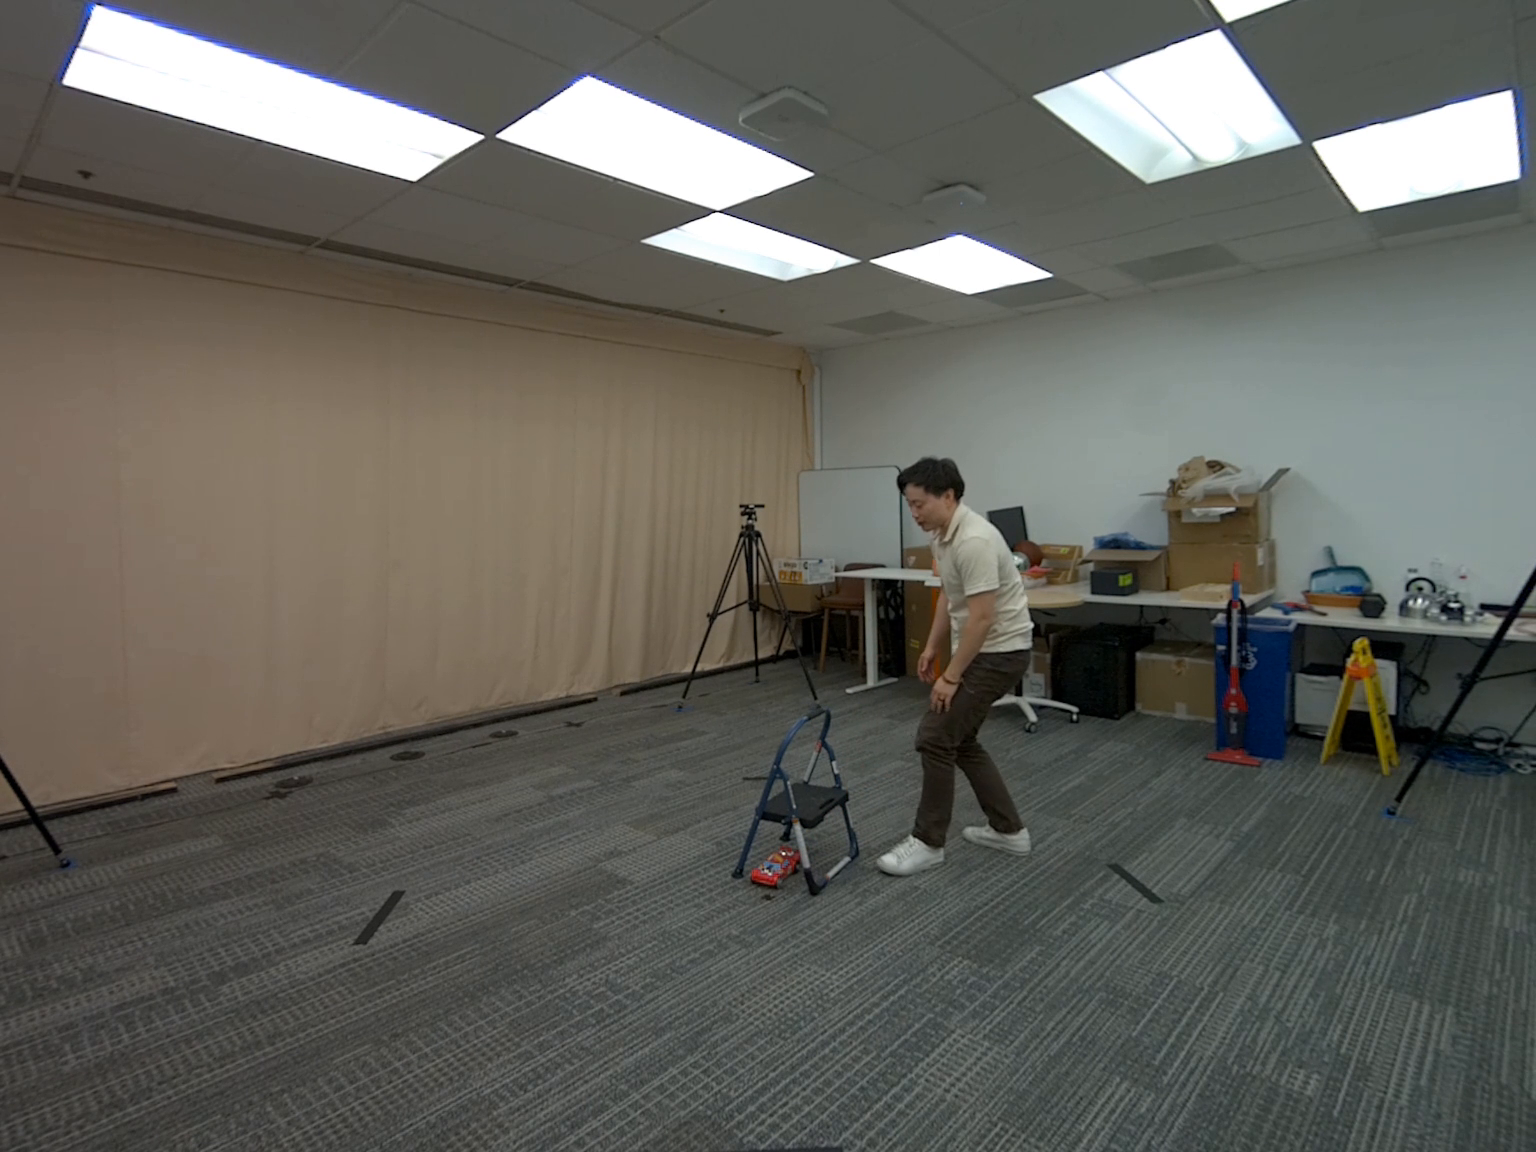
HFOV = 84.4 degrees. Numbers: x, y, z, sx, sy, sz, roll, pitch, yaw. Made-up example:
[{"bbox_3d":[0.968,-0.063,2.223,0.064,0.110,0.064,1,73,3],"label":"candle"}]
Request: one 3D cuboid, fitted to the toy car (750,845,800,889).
[{"bbox_3d":[0.040,1.095,3.155,0.134,0.082,0.250,1,16,29],"label":"toy car"}]
